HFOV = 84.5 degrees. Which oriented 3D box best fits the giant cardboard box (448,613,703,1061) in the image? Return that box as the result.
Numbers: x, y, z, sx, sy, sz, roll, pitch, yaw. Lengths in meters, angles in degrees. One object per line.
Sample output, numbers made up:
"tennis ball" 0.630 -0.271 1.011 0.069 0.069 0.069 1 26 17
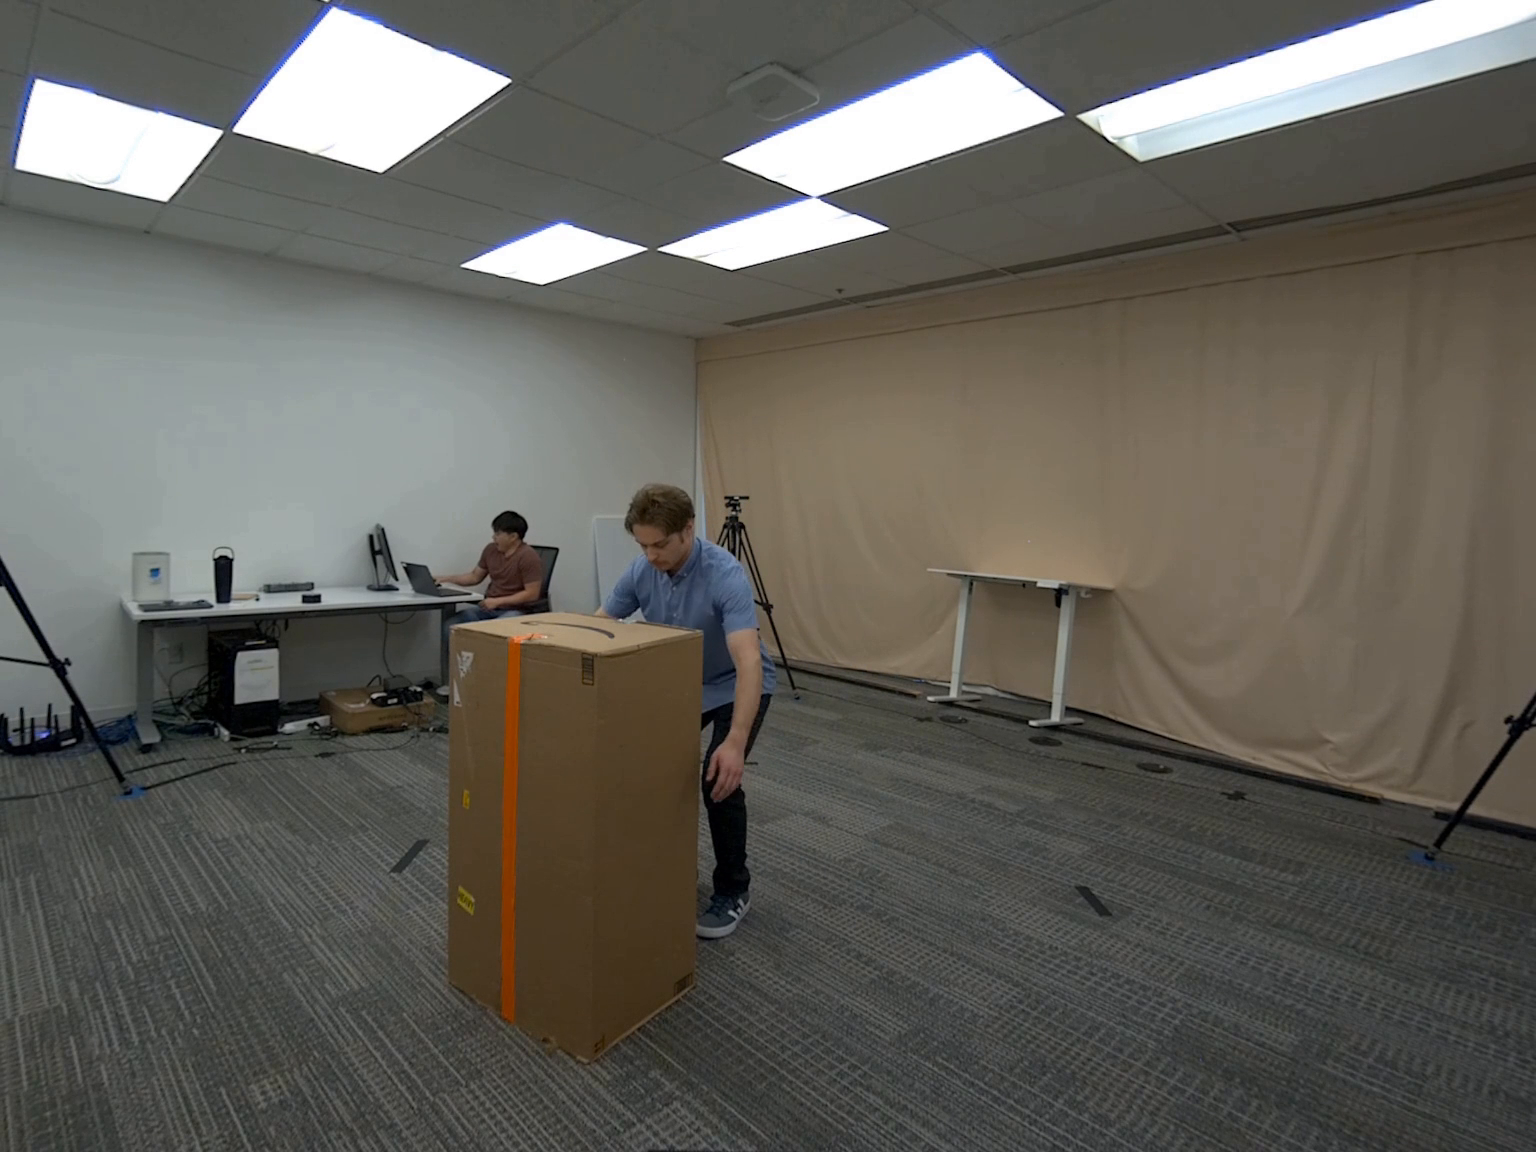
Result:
"giant cardboard box" -0.552 0.656 2.348 0.591 1.023 0.417 4 5 36
